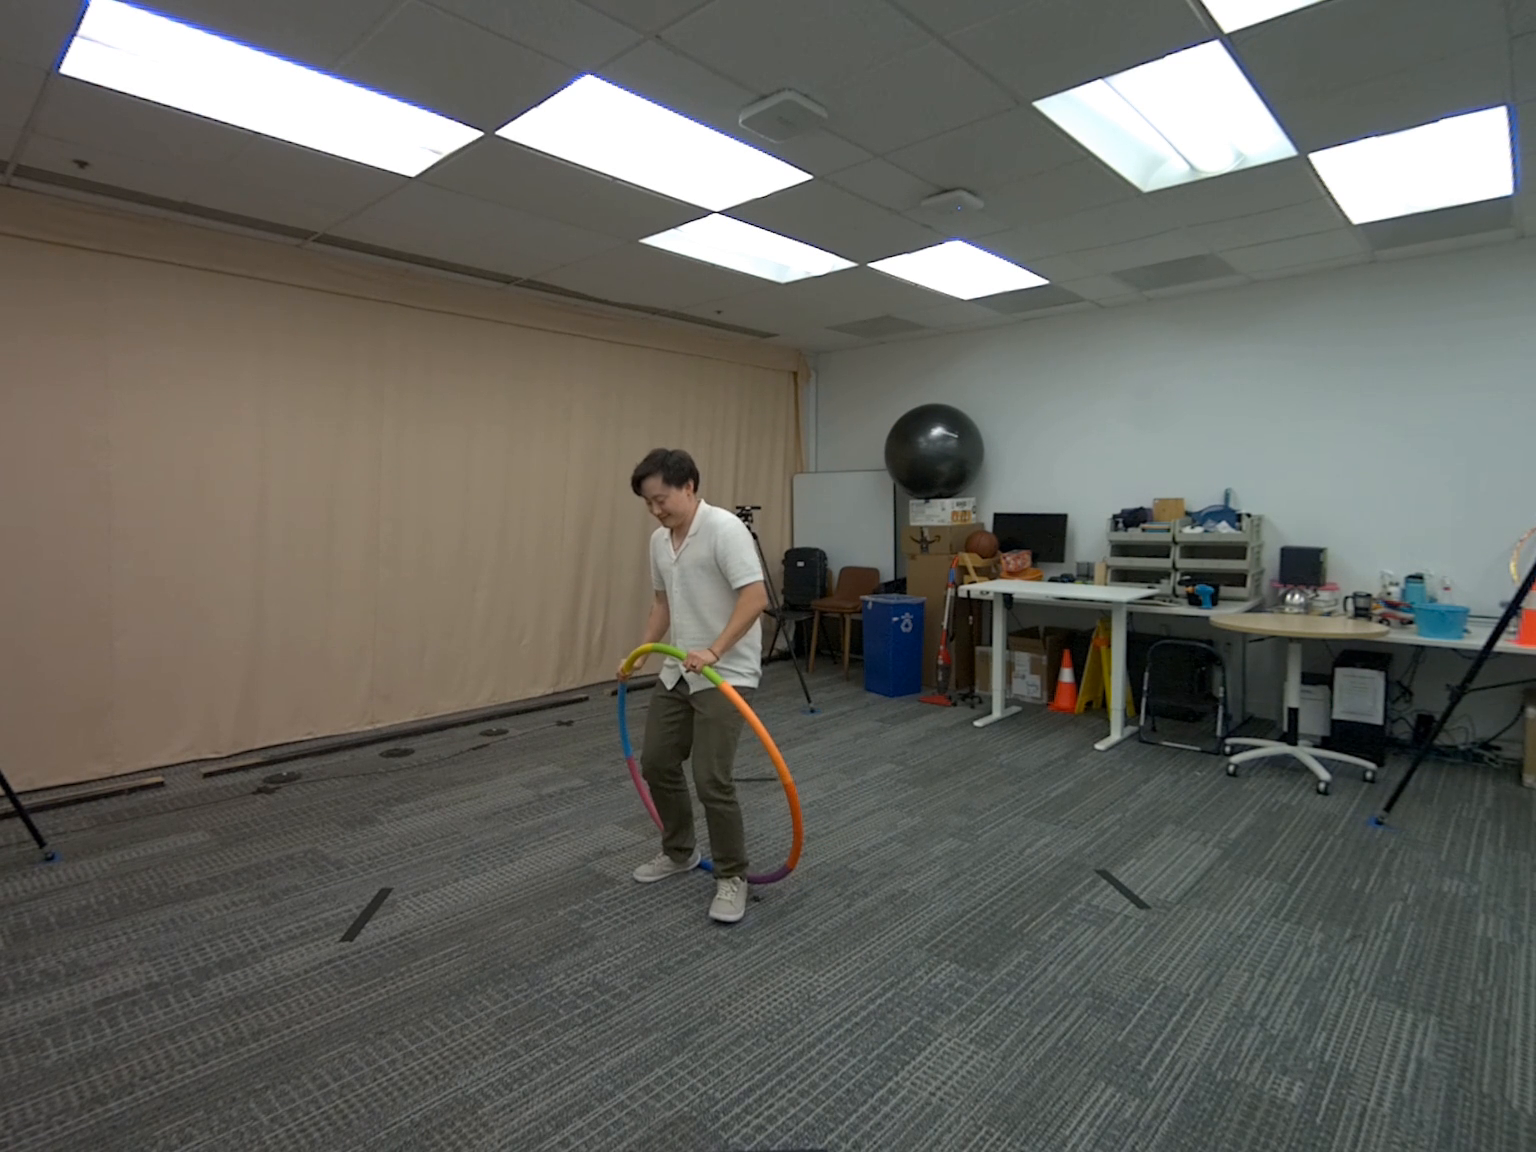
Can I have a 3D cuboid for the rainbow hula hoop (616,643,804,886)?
[{"bbox_3d":[-0.249,0.693,3.050,0.035,0.966,1.011,-26,19,-38],"label":"rainbow hula hoop"}]
